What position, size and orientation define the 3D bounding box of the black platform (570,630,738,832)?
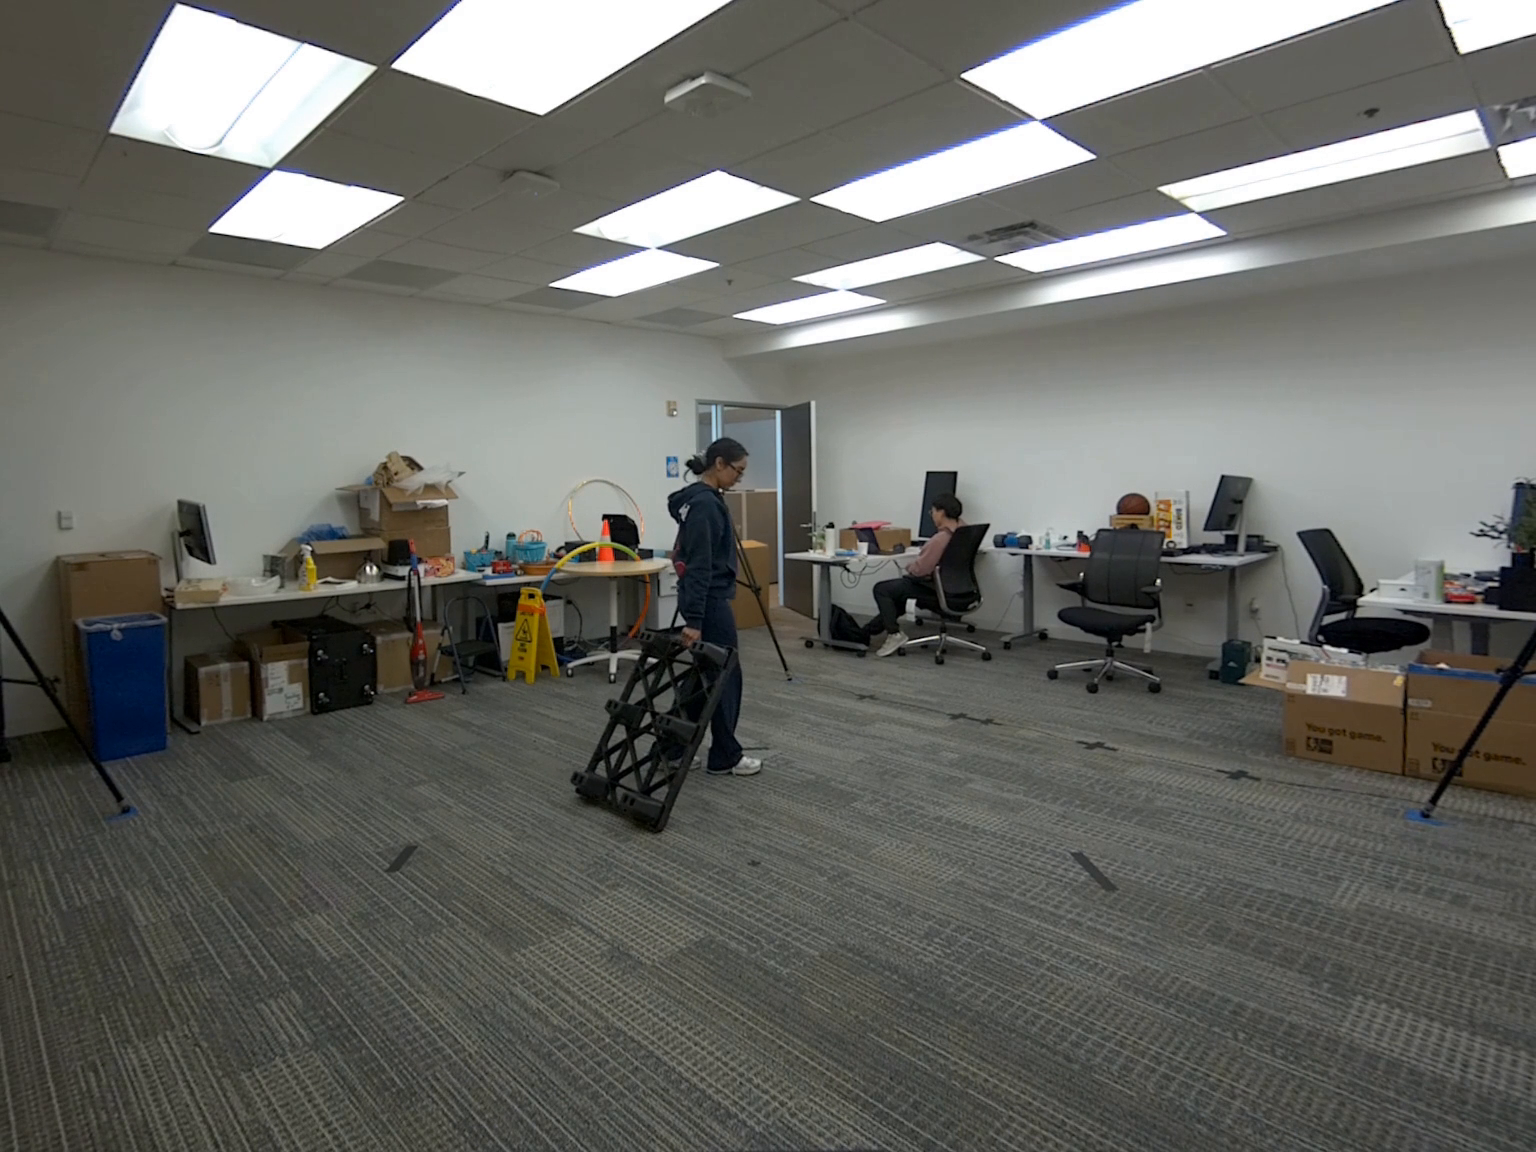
[{"bbox_3d":[-0.513,0.620,3.691,0.623,0.812,0.138,3,-27,46],"label":"black platform"}]
